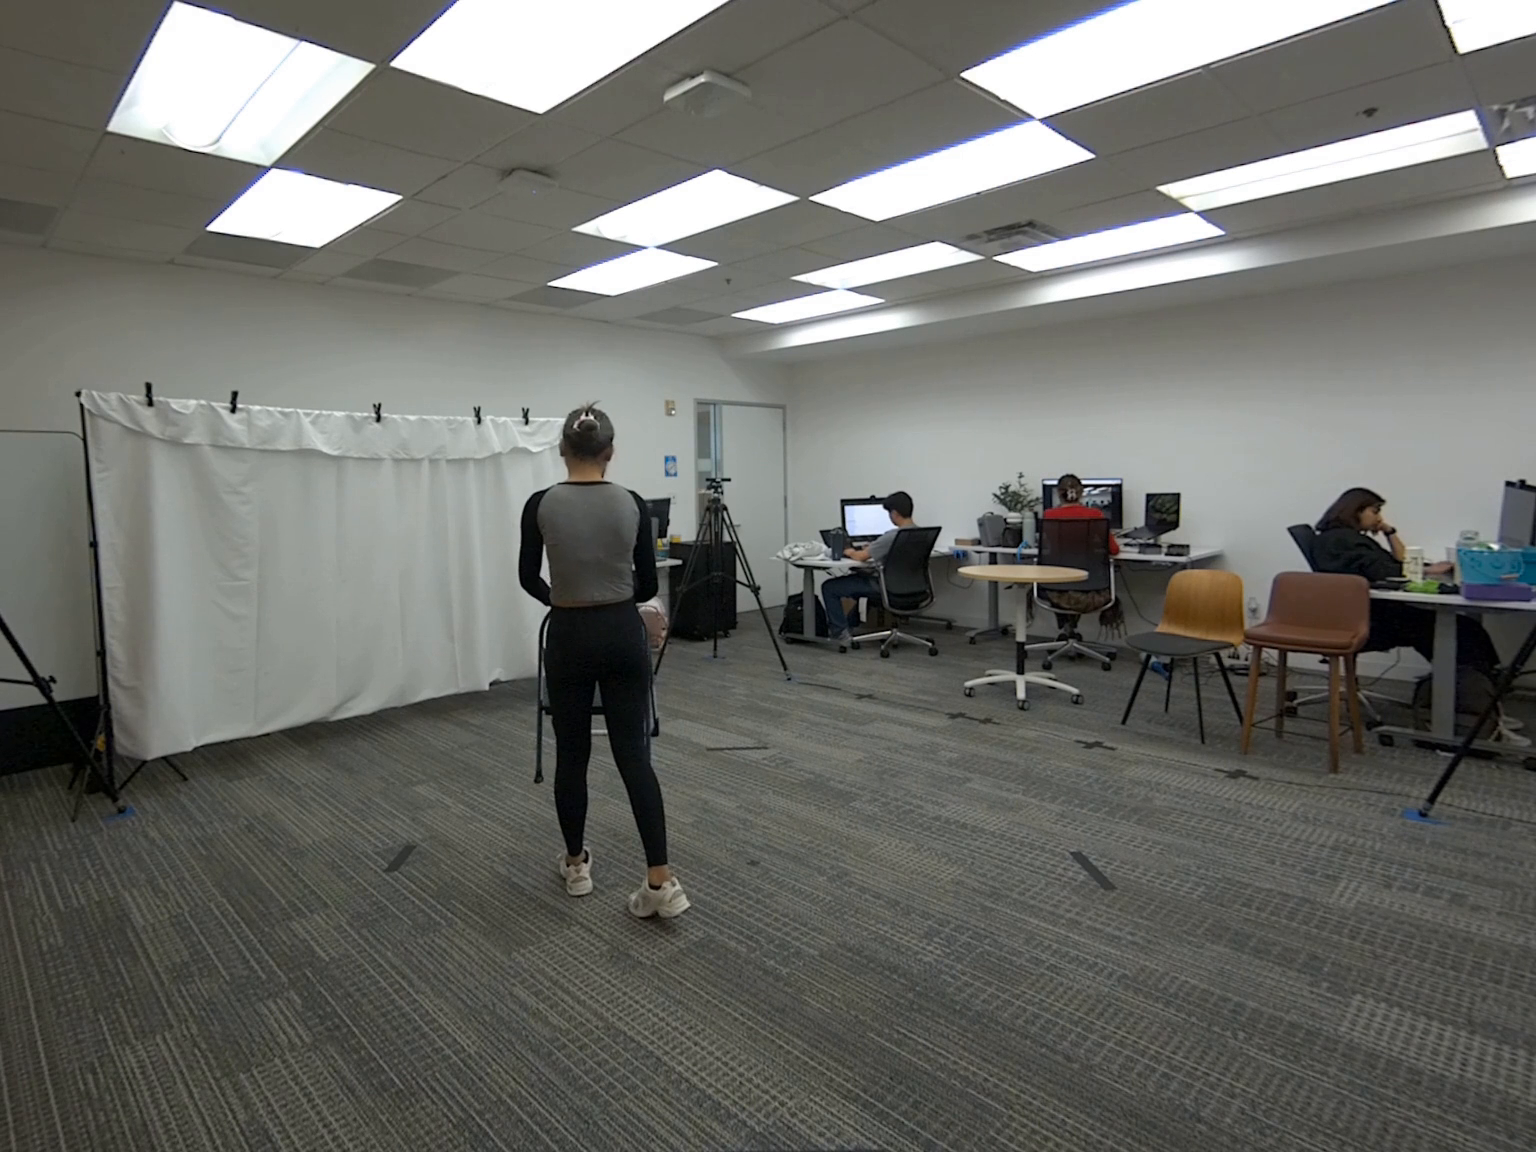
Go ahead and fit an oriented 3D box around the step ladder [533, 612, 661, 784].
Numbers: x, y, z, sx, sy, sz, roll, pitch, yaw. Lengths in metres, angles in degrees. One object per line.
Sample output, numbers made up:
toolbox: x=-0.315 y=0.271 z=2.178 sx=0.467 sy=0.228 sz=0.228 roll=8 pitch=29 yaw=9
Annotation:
step ladder: x=-0.638 y=0.403 z=3.131 sx=0.431 sy=0.598 sz=0.354 roll=-2 pitch=15 yaw=-1
